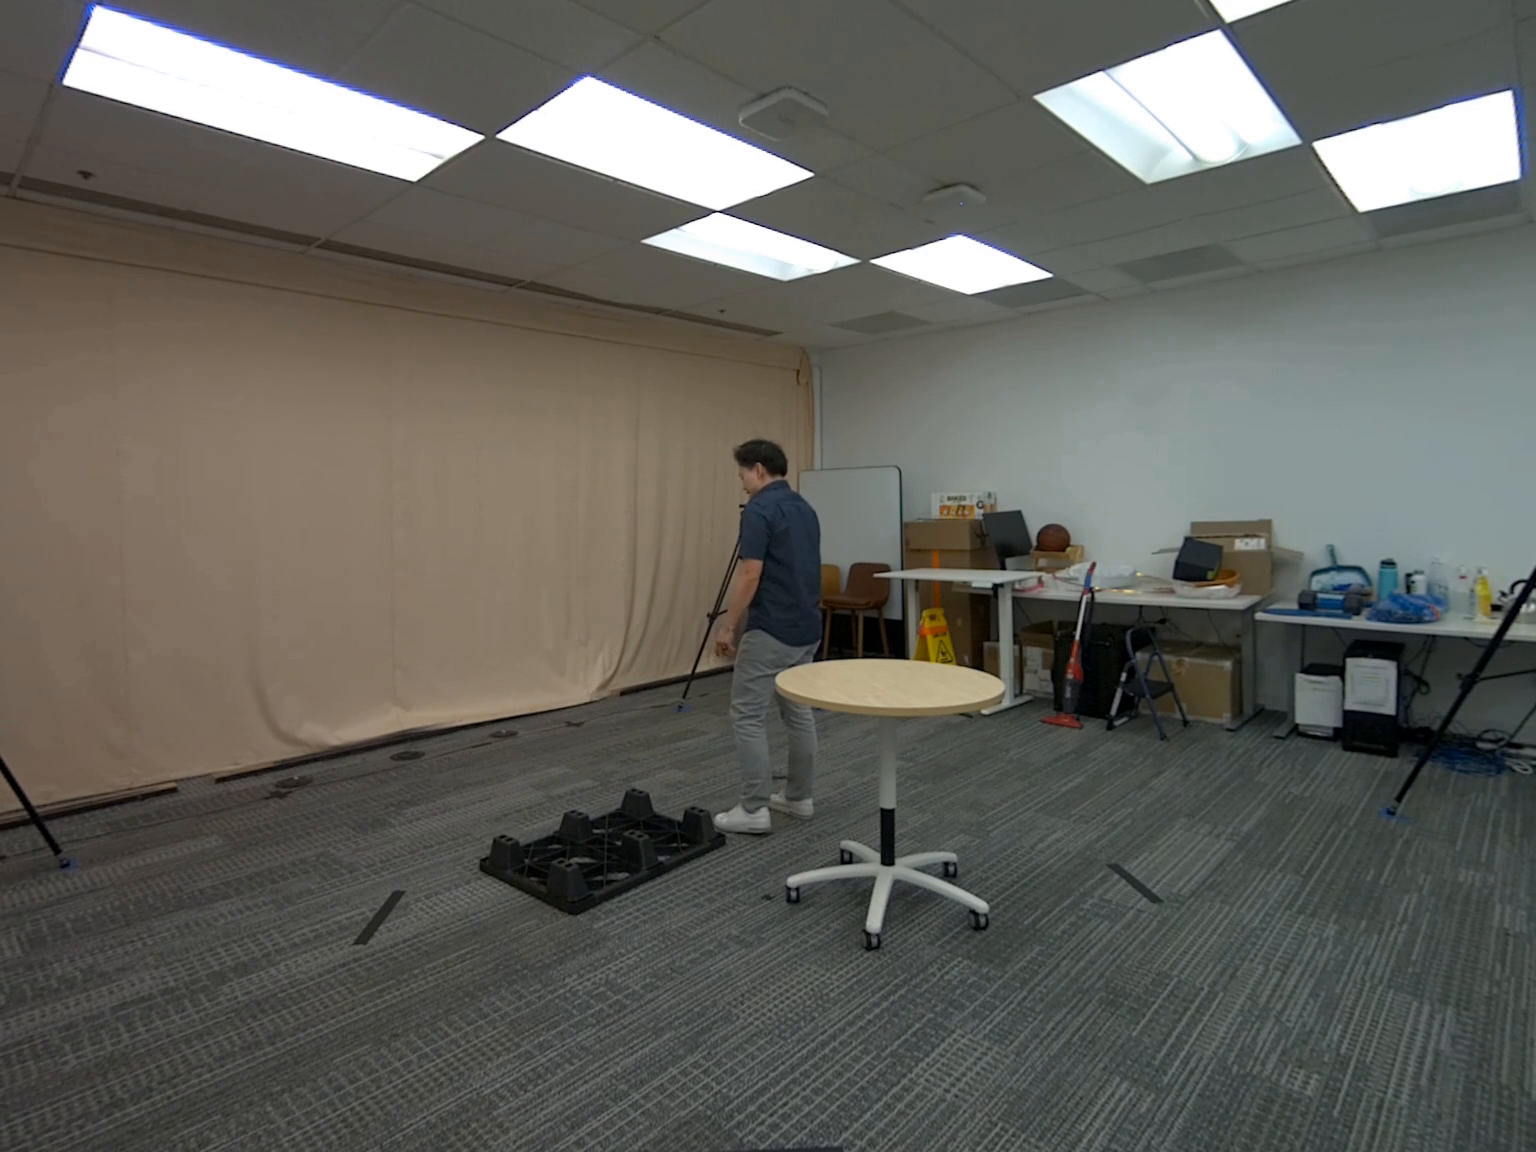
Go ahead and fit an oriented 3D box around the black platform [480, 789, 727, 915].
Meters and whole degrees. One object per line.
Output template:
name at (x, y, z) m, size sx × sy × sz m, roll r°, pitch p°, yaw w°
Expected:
black platform at (-0.646, 1.054, 3.365) m, size 0.625 × 0.143 × 0.781 m, roll 3°, pitch 6°, yaw 40°
